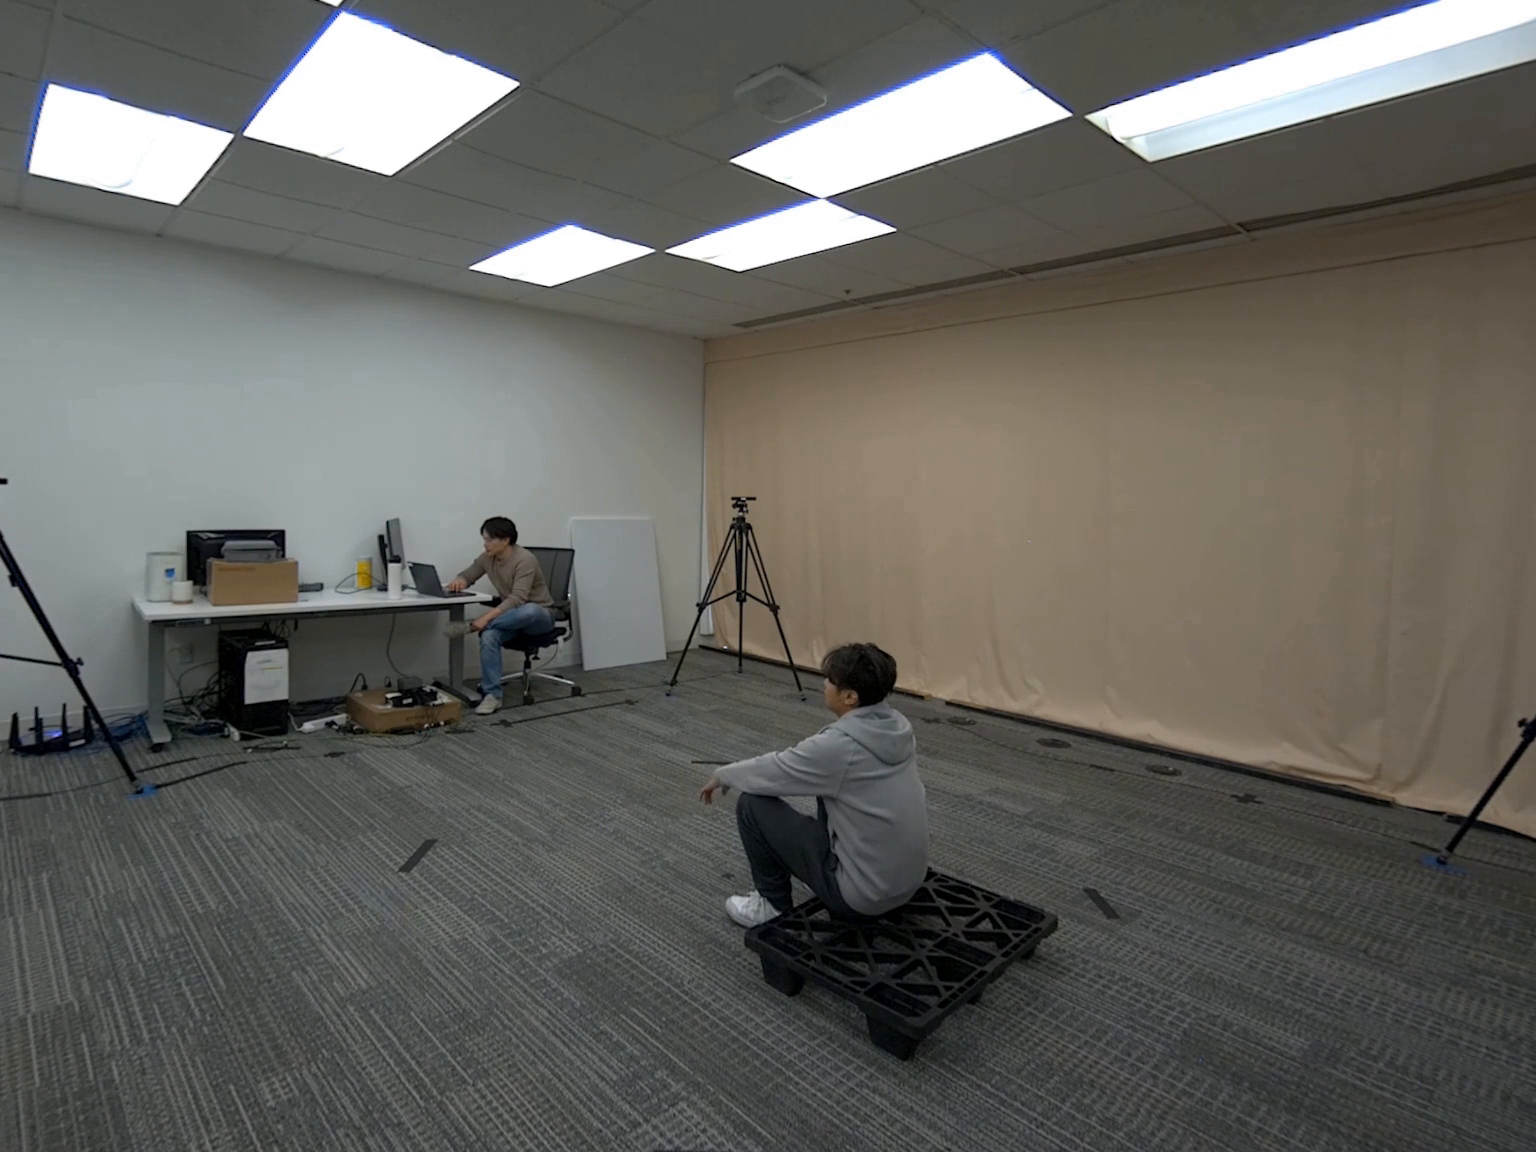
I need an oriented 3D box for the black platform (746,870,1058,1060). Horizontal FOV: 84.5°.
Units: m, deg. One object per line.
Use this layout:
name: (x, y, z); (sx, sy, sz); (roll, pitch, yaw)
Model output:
black platform: (0.400, 1.108, 2.518); (0.620, 0.143, 0.787); (6, 6, 43)
